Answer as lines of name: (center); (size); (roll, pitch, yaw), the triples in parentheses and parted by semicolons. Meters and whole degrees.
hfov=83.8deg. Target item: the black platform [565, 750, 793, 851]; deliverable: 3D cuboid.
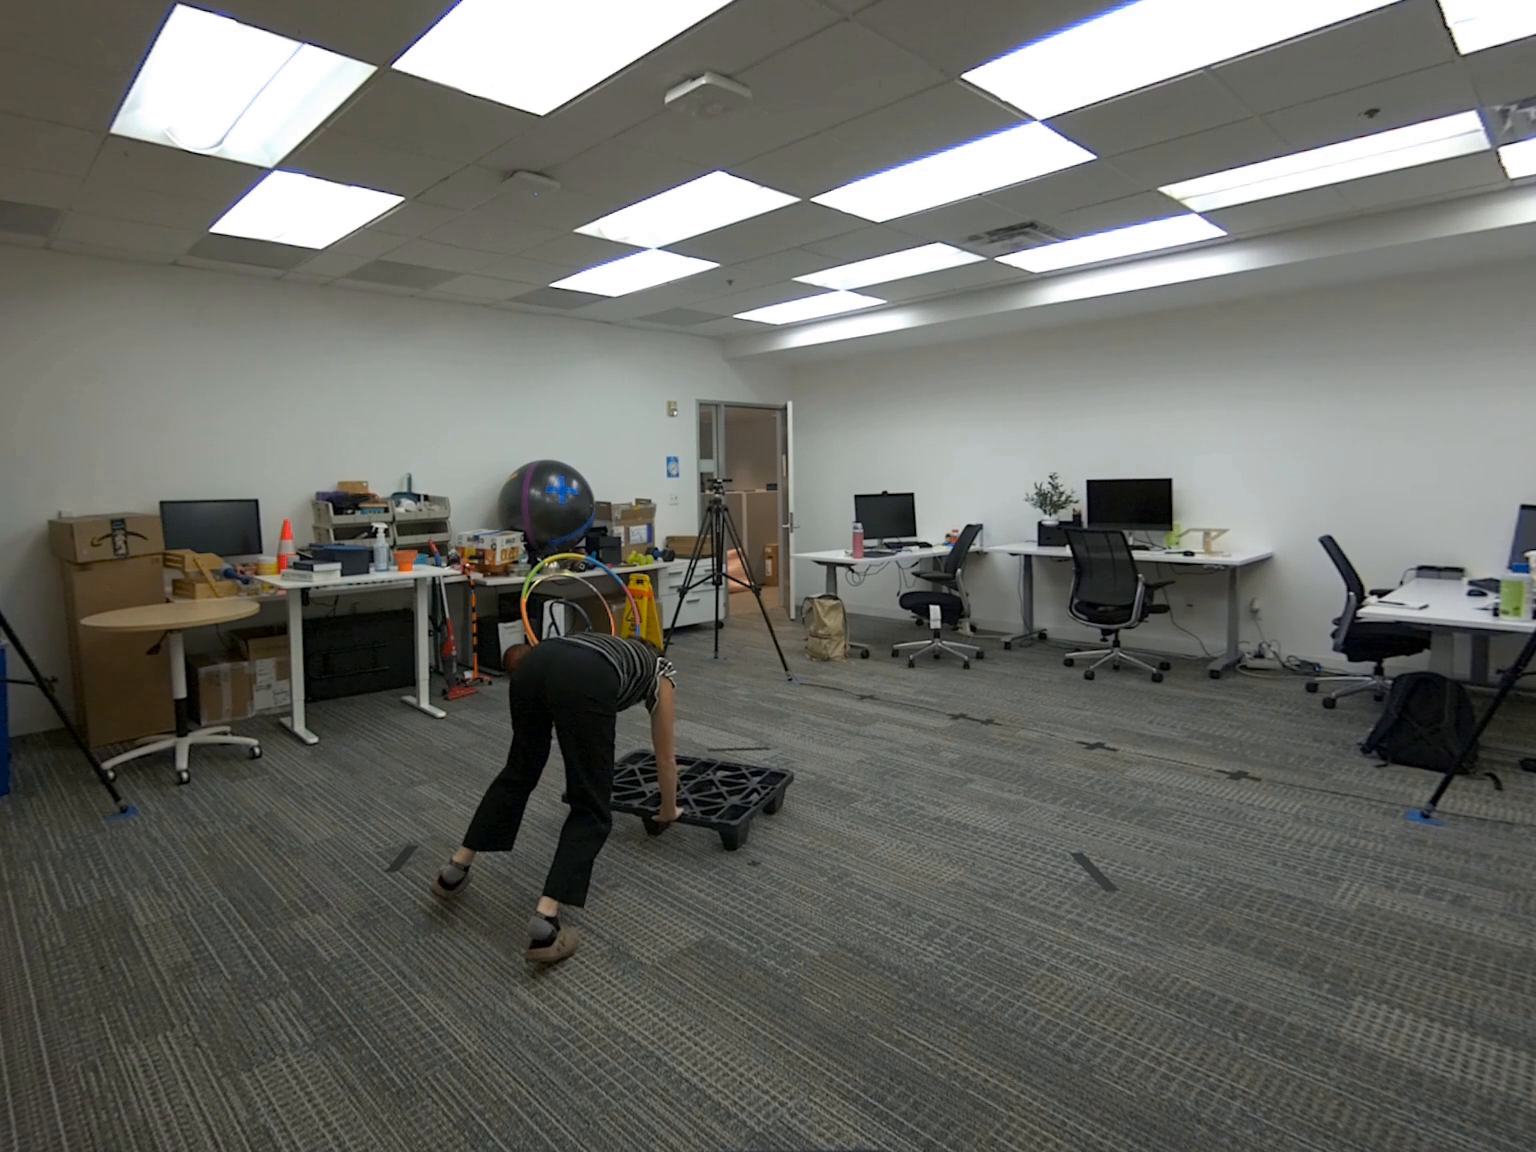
black platform: (-0.365, 0.924, 3.581); (0.824, 0.142, 0.594); (2, 7, 25)
